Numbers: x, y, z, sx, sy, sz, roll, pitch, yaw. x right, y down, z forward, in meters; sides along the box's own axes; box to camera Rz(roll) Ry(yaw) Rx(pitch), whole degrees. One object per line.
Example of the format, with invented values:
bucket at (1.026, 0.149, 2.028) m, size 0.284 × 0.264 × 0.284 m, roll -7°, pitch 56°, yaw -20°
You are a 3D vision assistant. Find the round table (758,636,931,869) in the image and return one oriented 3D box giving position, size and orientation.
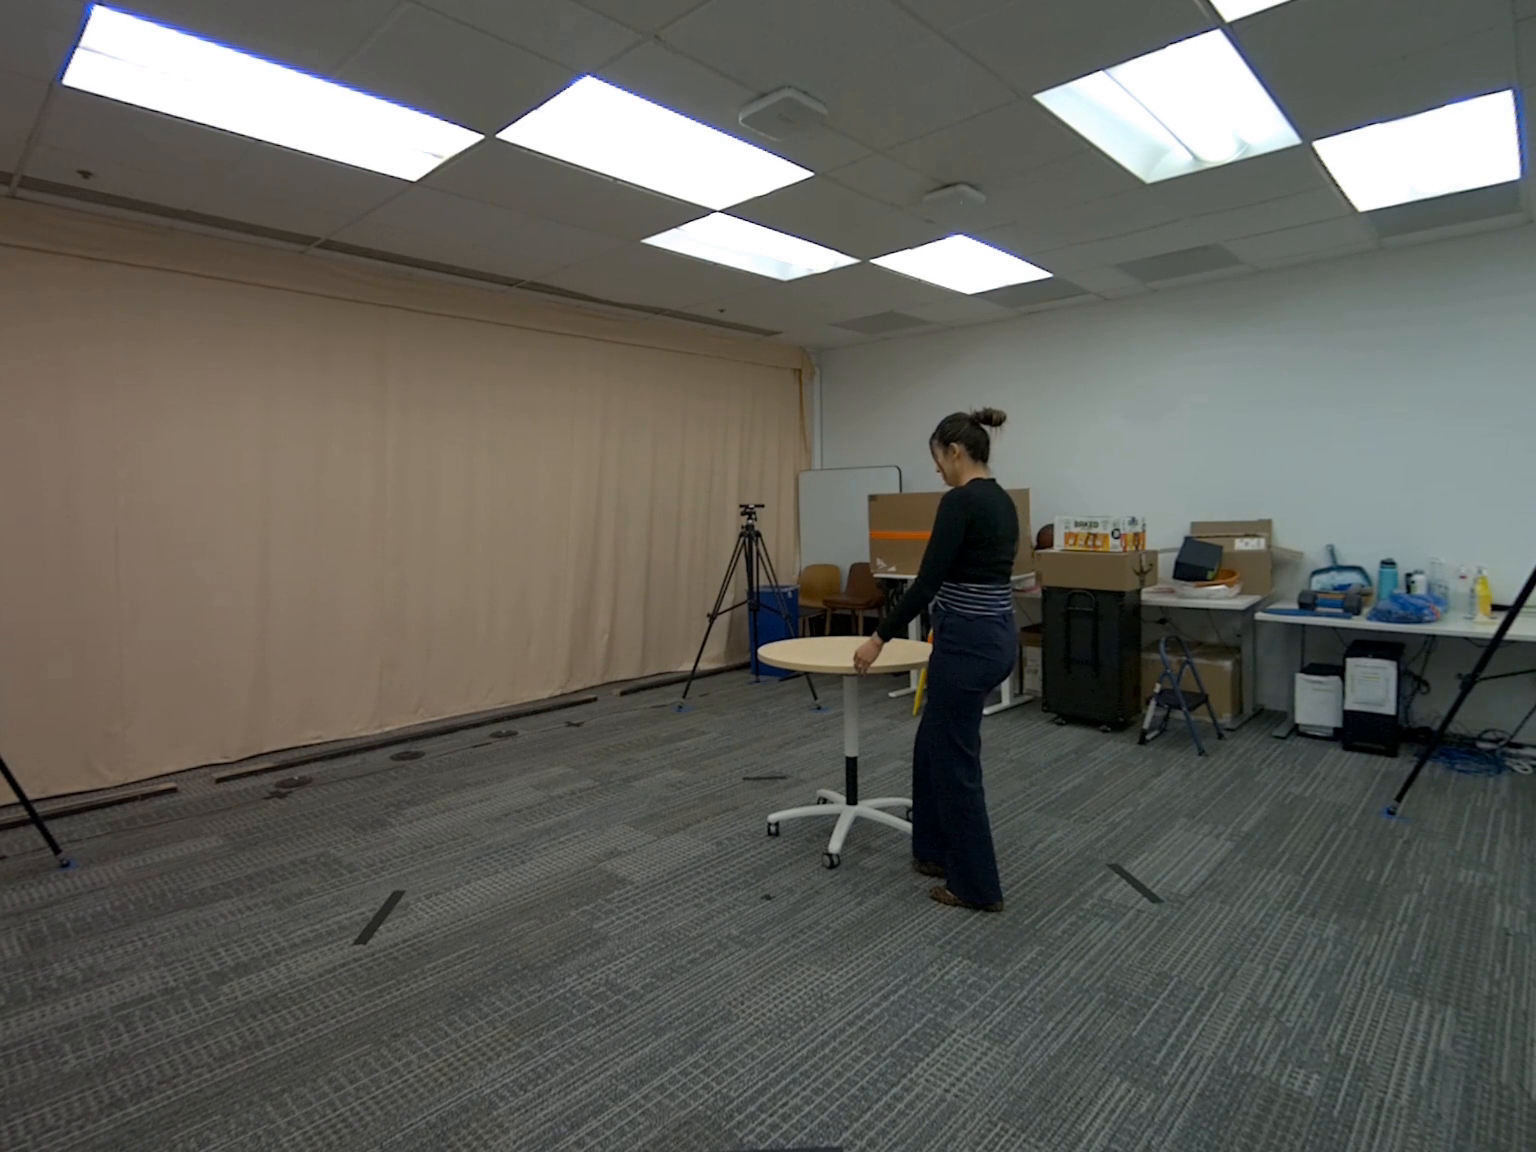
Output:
round table at (0.350, 0.699, 3.489) m, size 0.763 × 0.792 × 0.766 m, roll -1°, pitch 3°, yaw -2°
